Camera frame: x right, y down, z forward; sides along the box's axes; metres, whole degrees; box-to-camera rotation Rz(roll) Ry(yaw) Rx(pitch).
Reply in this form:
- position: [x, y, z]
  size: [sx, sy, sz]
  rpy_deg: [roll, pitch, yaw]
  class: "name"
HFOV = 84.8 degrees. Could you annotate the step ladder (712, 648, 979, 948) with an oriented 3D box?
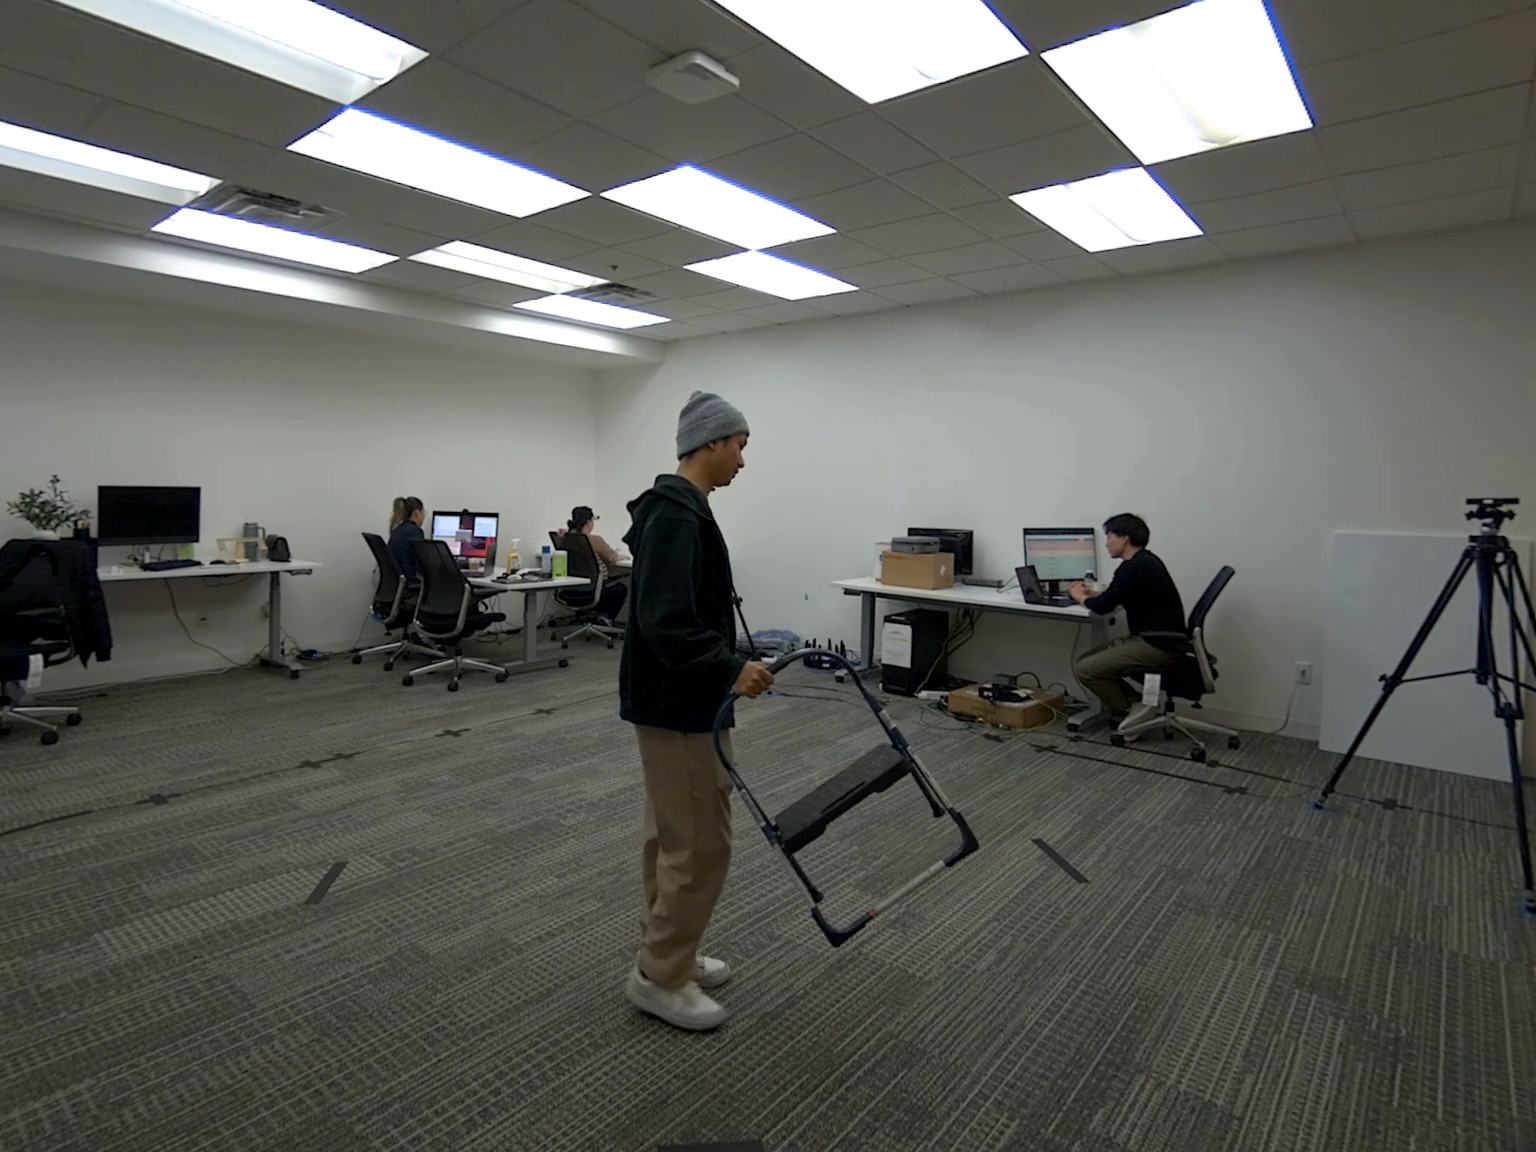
- position: [0.143, 0.498, 2.136]
  size: [0.429, 0.609, 0.348]
  rpy_deg: [-32, -3, -6]
  class: "step ladder"
